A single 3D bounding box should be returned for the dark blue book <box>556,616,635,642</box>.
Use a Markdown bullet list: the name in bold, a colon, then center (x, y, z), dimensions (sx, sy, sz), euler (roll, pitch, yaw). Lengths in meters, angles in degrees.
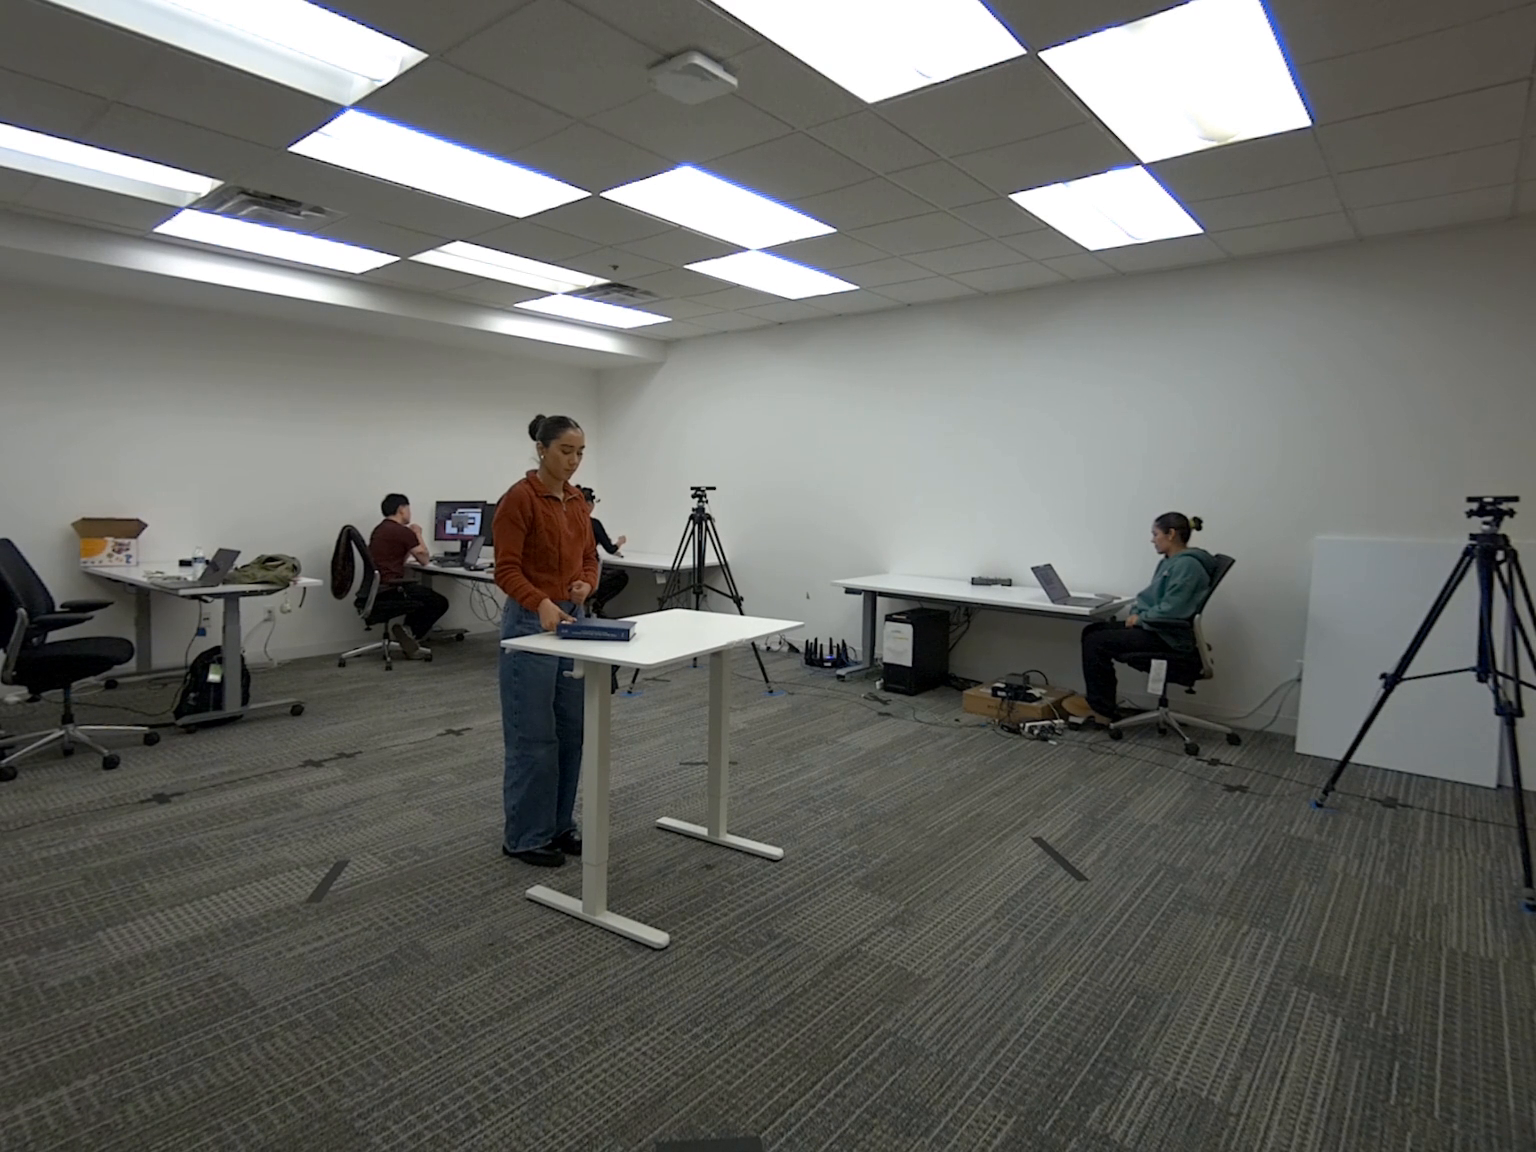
- **dark blue book**: center (-0.586, 0.179, 2.848), dimensions (0.246, 0.045, 0.163), euler (3, 6, 2)
